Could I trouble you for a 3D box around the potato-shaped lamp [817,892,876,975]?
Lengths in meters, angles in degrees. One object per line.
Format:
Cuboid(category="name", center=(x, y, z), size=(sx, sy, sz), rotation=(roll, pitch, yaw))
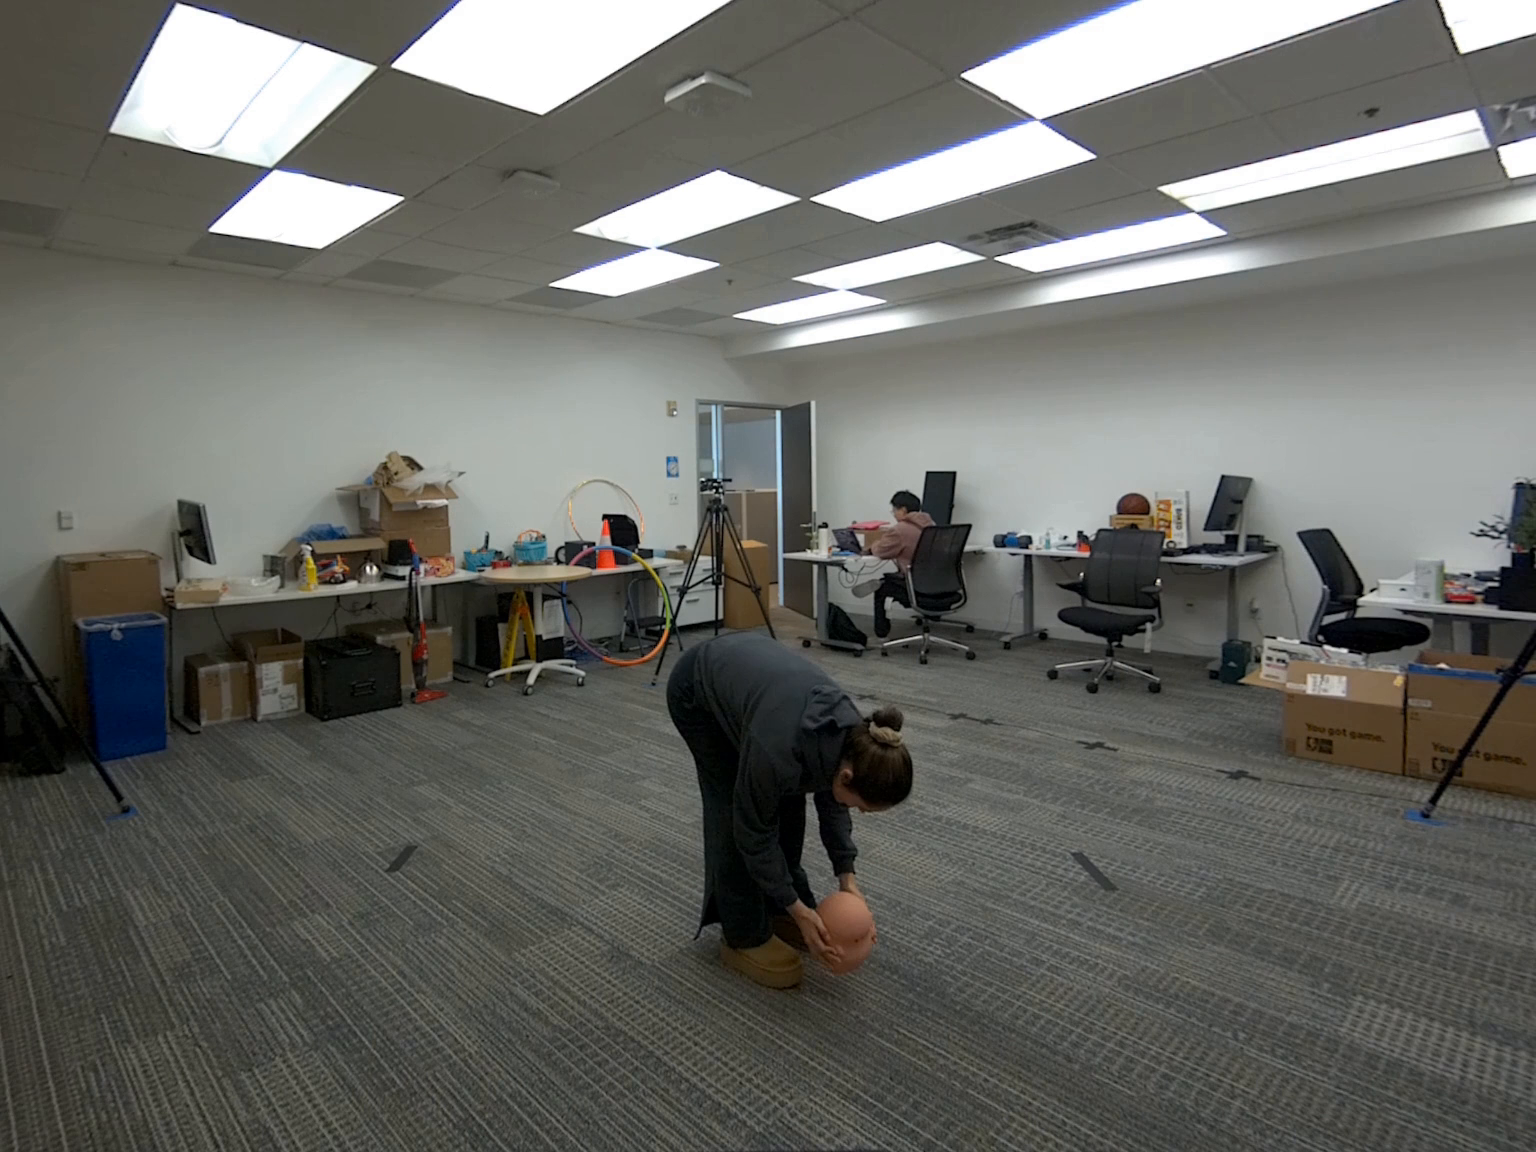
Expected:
Cuboid(category="potato-shaped lamp", center=(0.206, 0.945, 2.296), size=(0.161, 0.195, 0.178), rotation=(-6, 34, -31))
